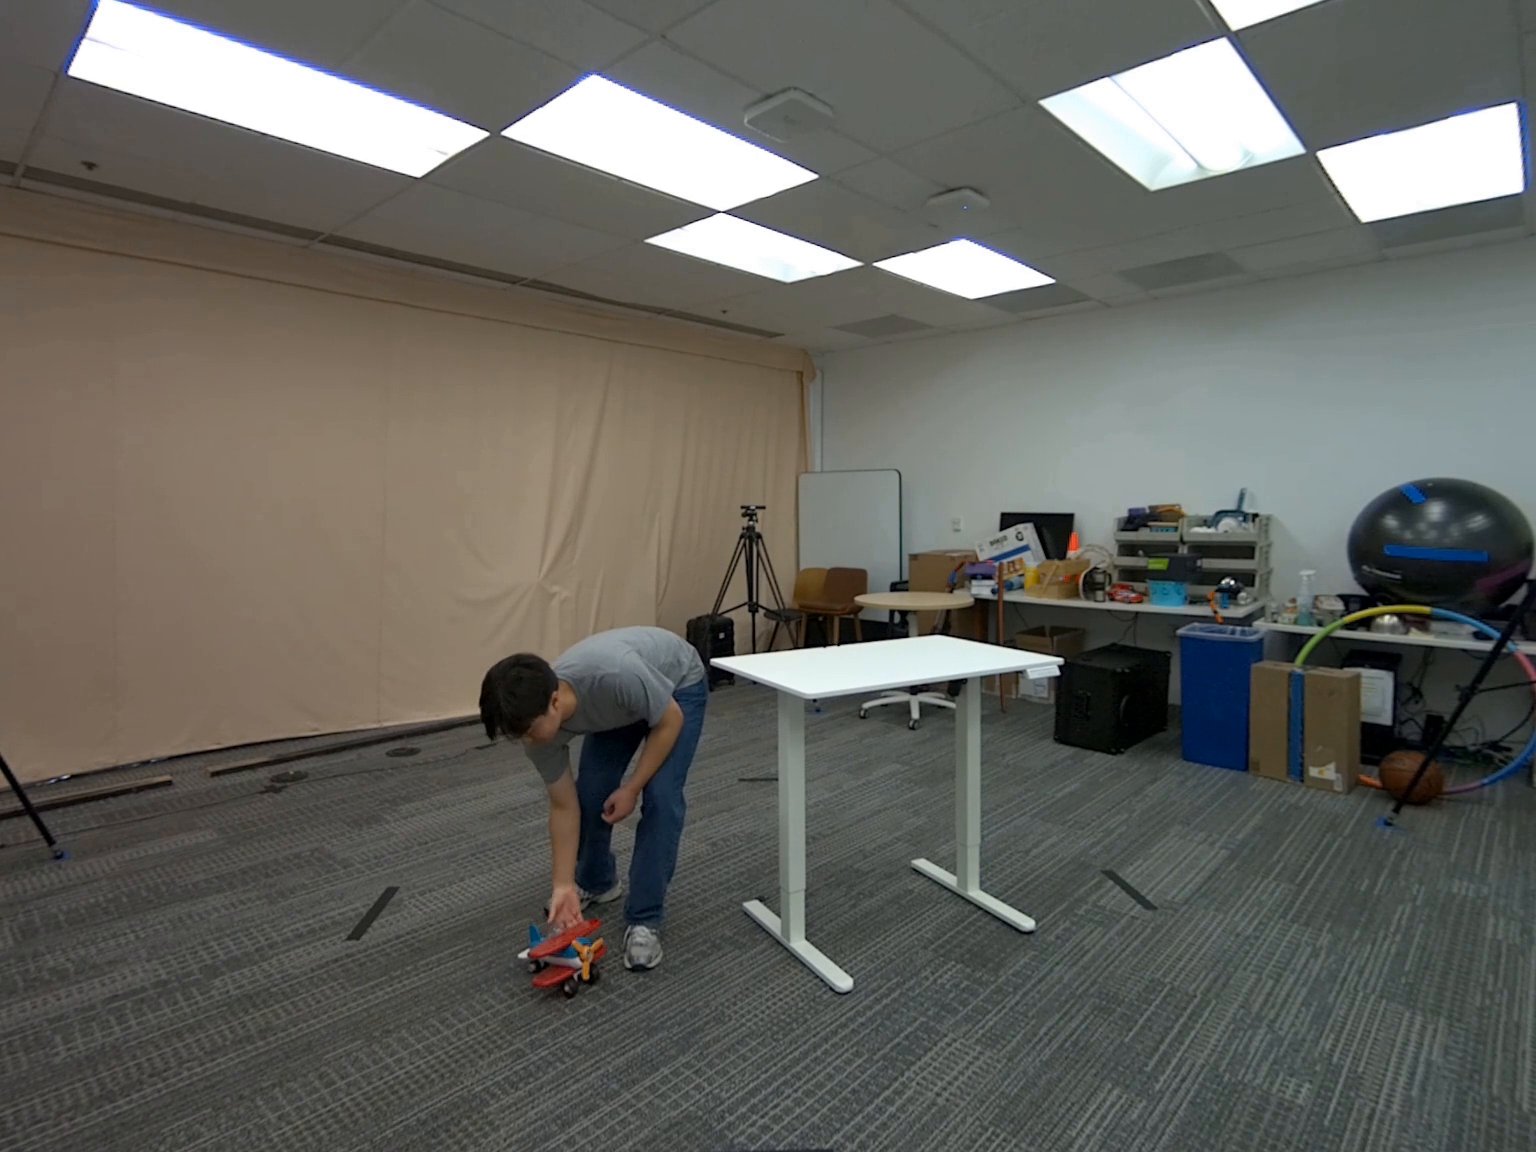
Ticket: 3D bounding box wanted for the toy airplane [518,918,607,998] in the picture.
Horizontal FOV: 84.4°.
[{"bbox_3d":[-0.617,1.117,2.469,0.262,0.156,0.249,2,5,8],"label":"toy airplane"}]
